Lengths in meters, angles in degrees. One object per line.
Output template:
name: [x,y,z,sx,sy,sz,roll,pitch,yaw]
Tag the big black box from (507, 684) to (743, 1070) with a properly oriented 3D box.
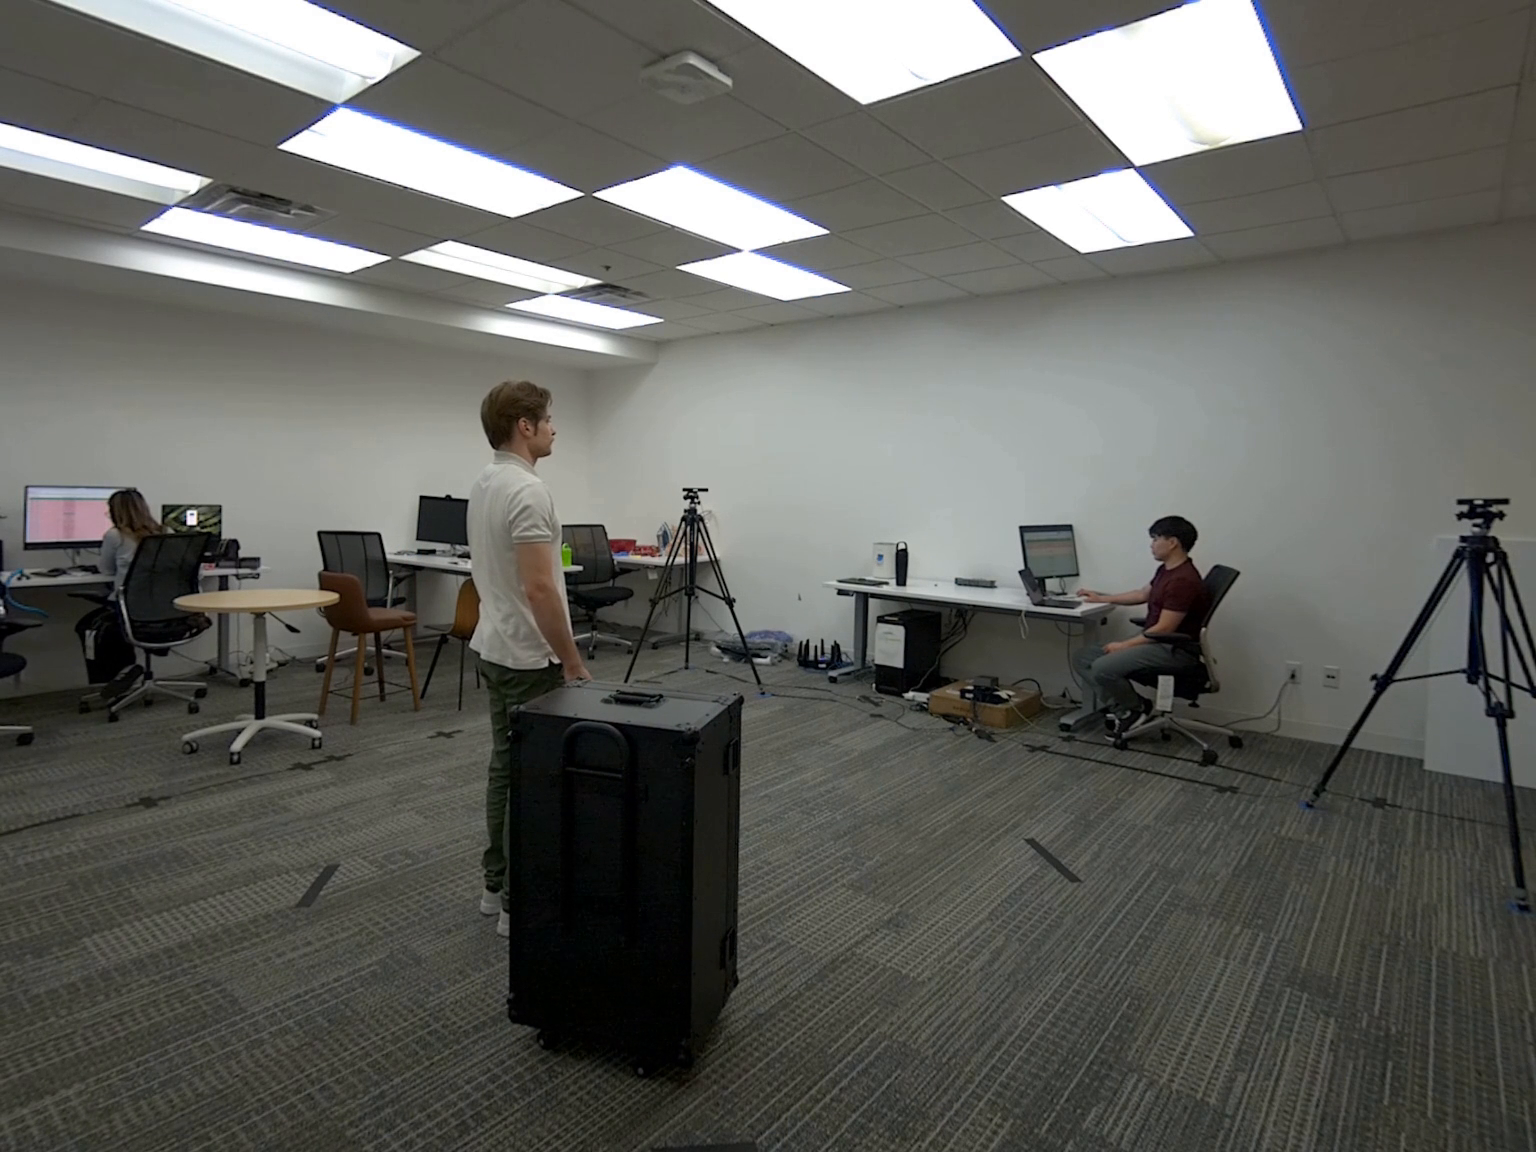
big black box: [-0.357,0.739,2.150,0.533,0.866,0.379,2,4,17]
